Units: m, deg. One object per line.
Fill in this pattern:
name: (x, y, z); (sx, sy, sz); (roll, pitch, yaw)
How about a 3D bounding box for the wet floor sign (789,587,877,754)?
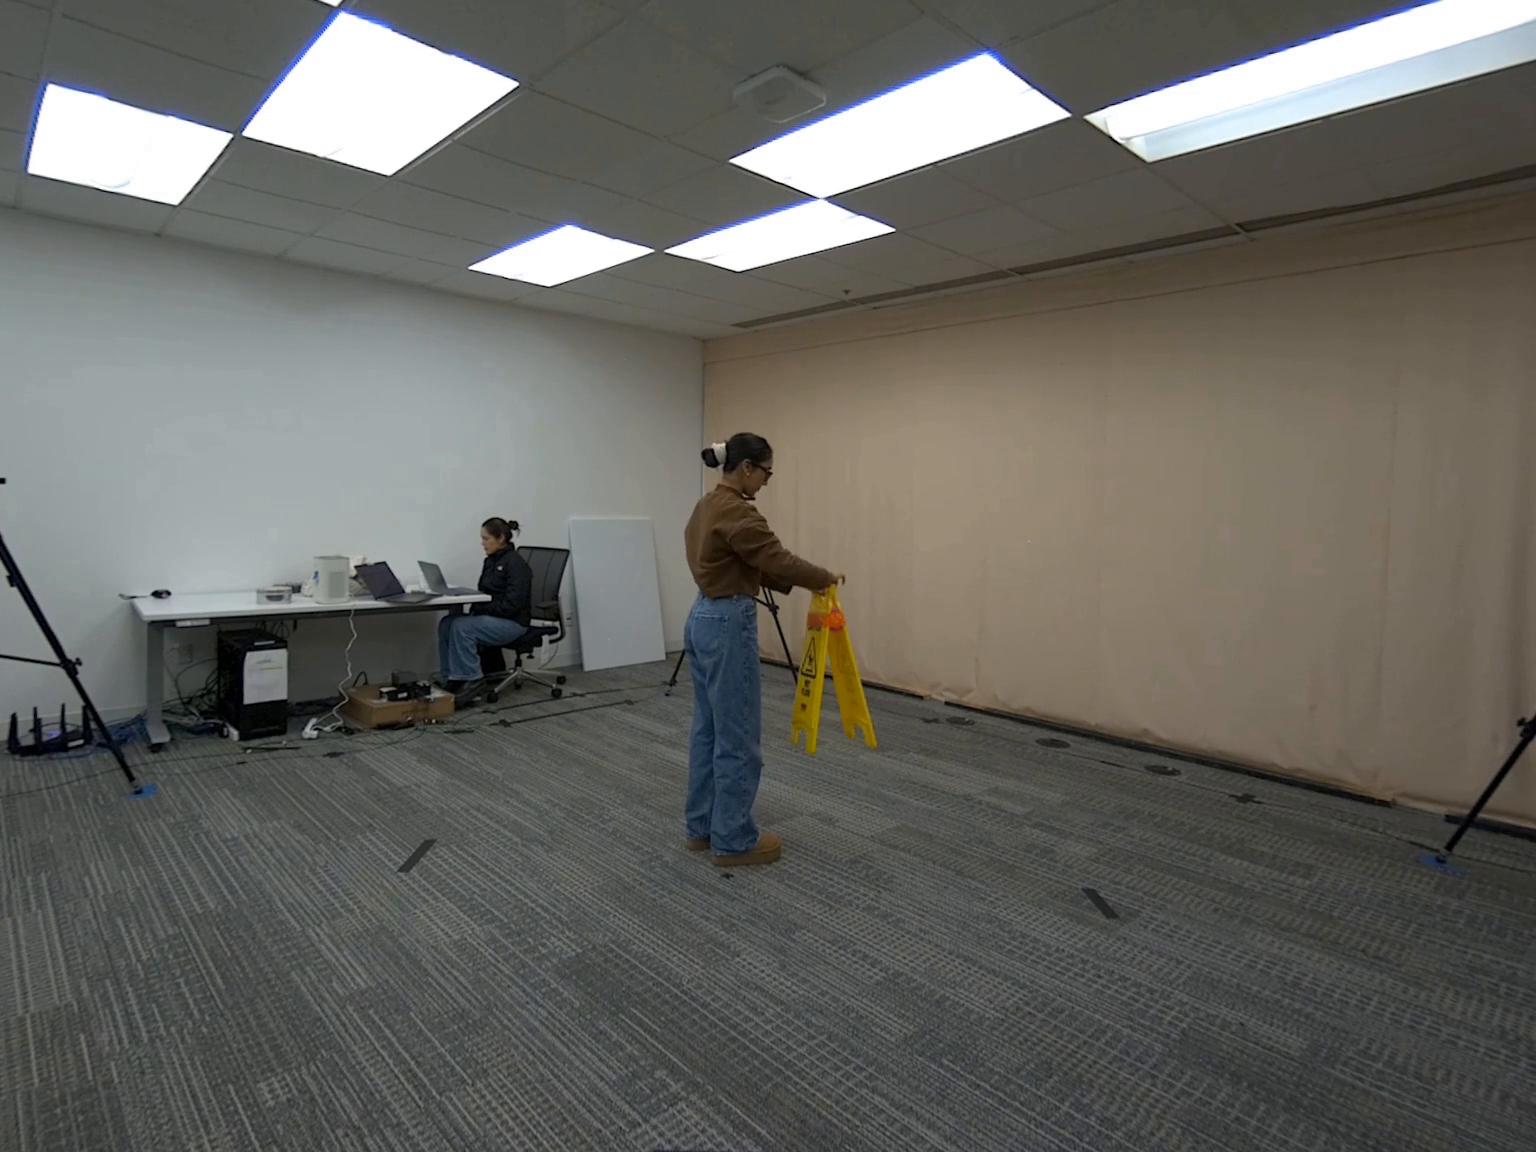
wet floor sign: (0.236, 0.343, 3.378); (0.286, 0.647, 0.285); (-1, -2, -17)
